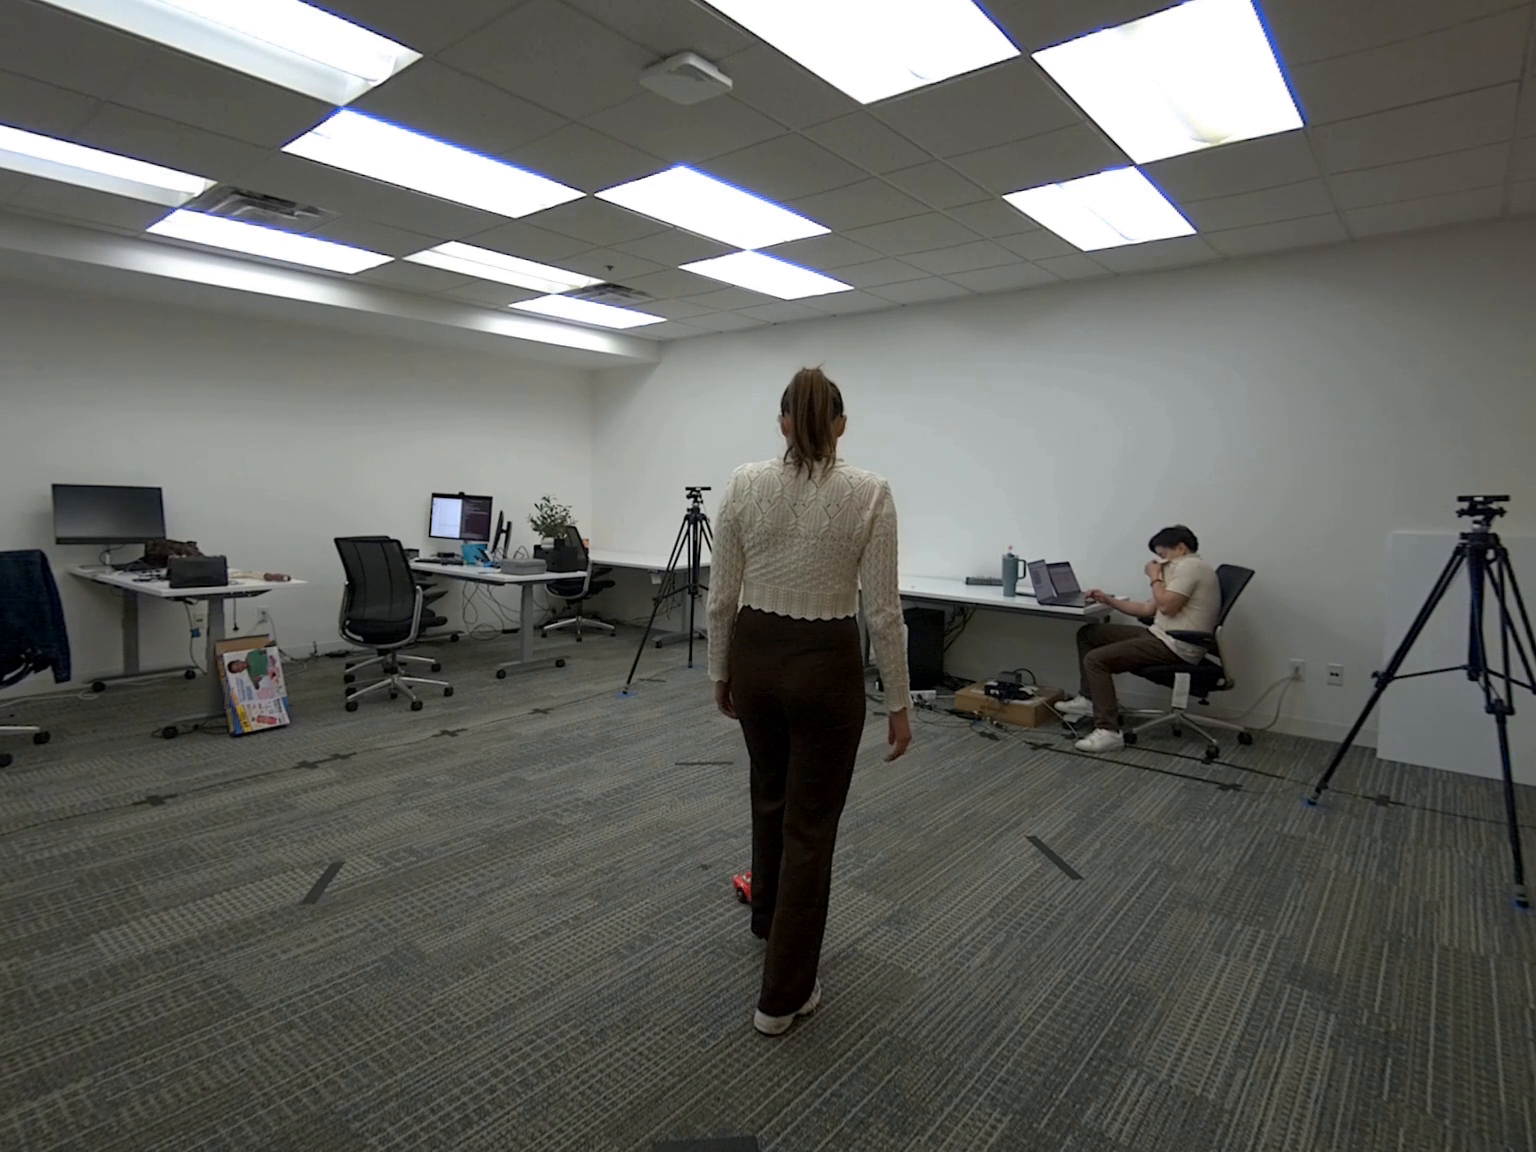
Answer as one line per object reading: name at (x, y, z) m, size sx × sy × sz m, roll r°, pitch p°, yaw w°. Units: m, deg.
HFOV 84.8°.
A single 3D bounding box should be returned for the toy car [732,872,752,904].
toy car at (-0.027, 1.059, 2.845) m, size 0.126 × 0.082 × 0.265 m, roll -2°, pitch 18°, yaw -37°
